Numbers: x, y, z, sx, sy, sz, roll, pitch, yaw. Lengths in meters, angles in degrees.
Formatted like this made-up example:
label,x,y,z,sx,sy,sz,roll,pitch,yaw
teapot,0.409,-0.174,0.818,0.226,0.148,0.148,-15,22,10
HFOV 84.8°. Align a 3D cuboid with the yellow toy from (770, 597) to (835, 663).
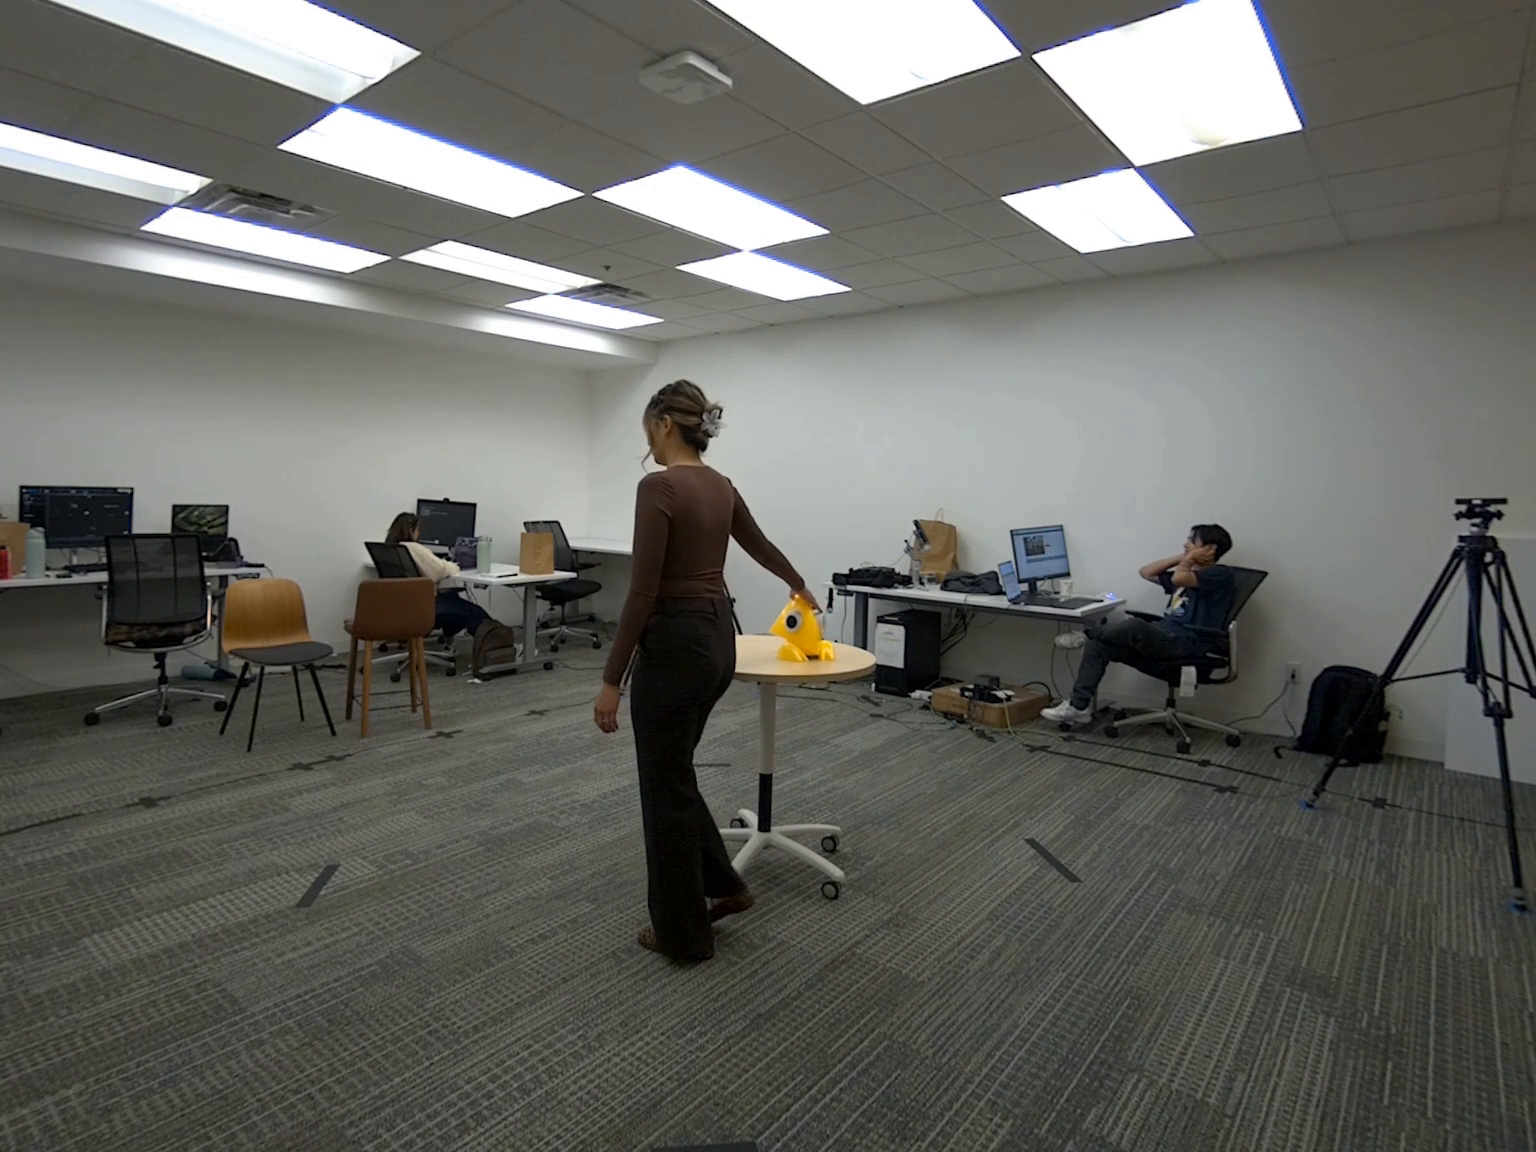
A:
label,x,y,z,sx,sy,sz,roll,pitch,yaw
yellow toy,0.128,0.172,3.045,0.200,0.230,0.198,0,3,-25
